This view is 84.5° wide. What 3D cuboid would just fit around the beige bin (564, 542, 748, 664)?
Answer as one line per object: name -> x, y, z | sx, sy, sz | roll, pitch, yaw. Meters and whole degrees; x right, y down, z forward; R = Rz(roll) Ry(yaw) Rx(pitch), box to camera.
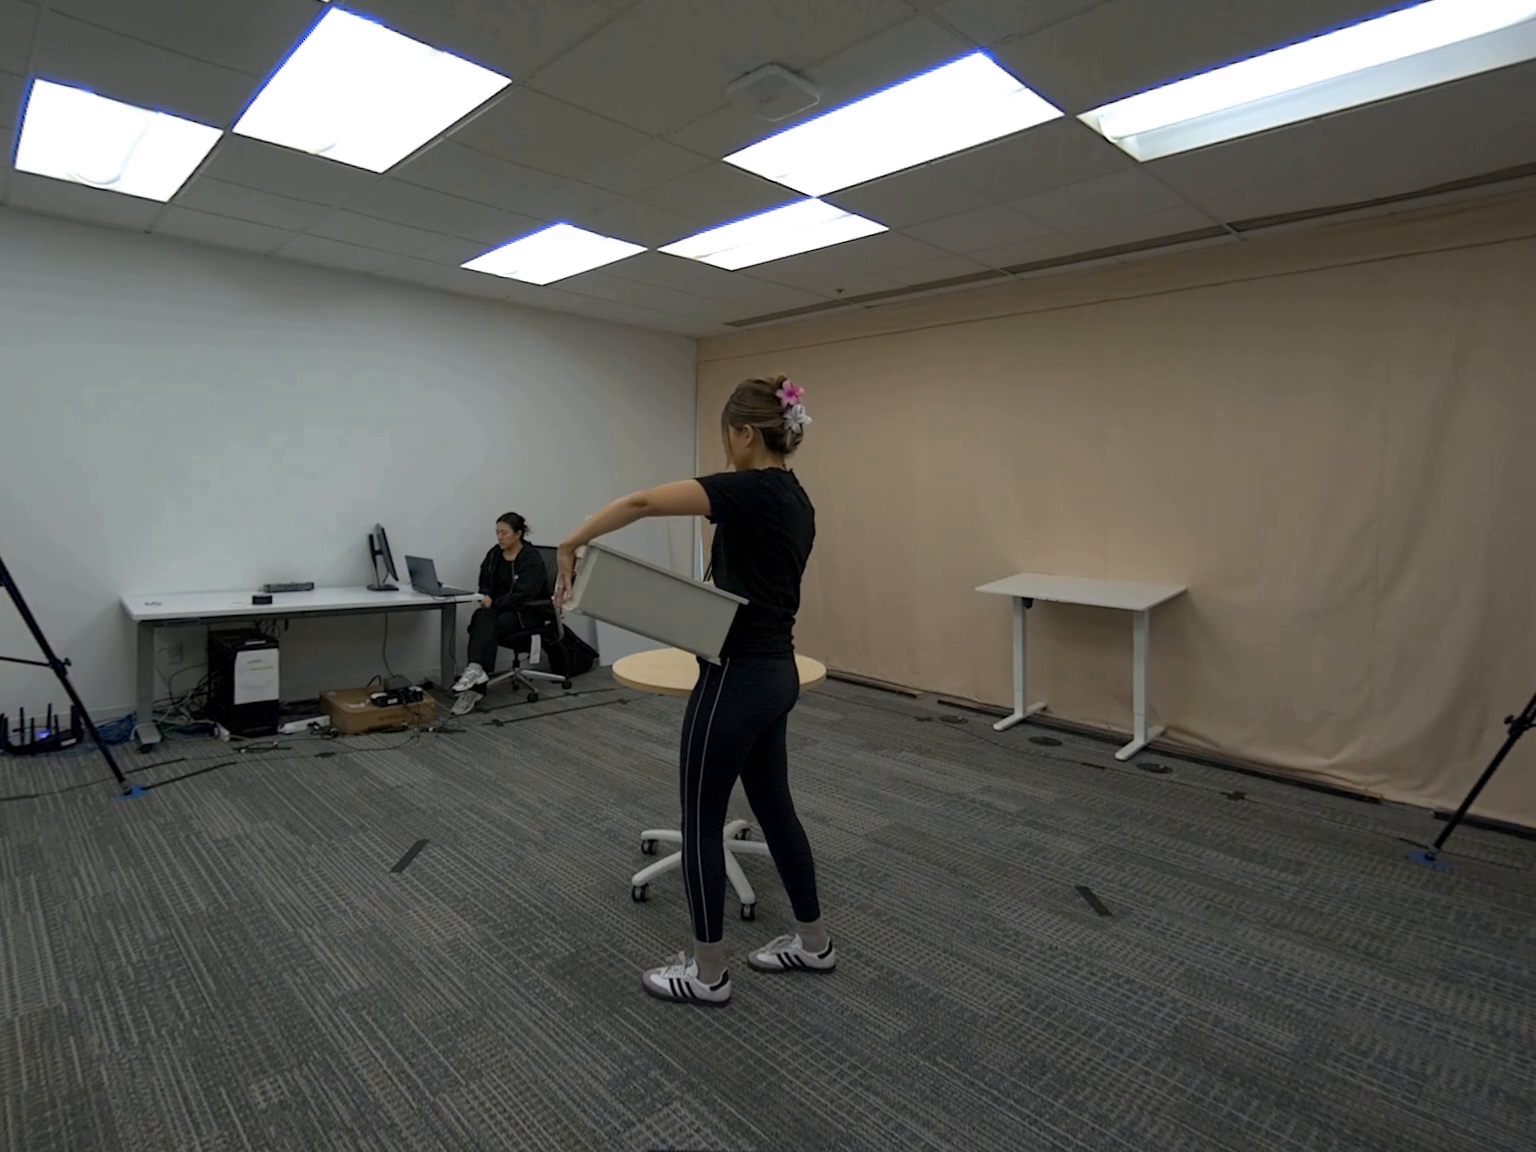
beige bin -> -0.329, 0.063, 2.232 | 0.414, 0.189, 0.384 | 23, -4, -20
